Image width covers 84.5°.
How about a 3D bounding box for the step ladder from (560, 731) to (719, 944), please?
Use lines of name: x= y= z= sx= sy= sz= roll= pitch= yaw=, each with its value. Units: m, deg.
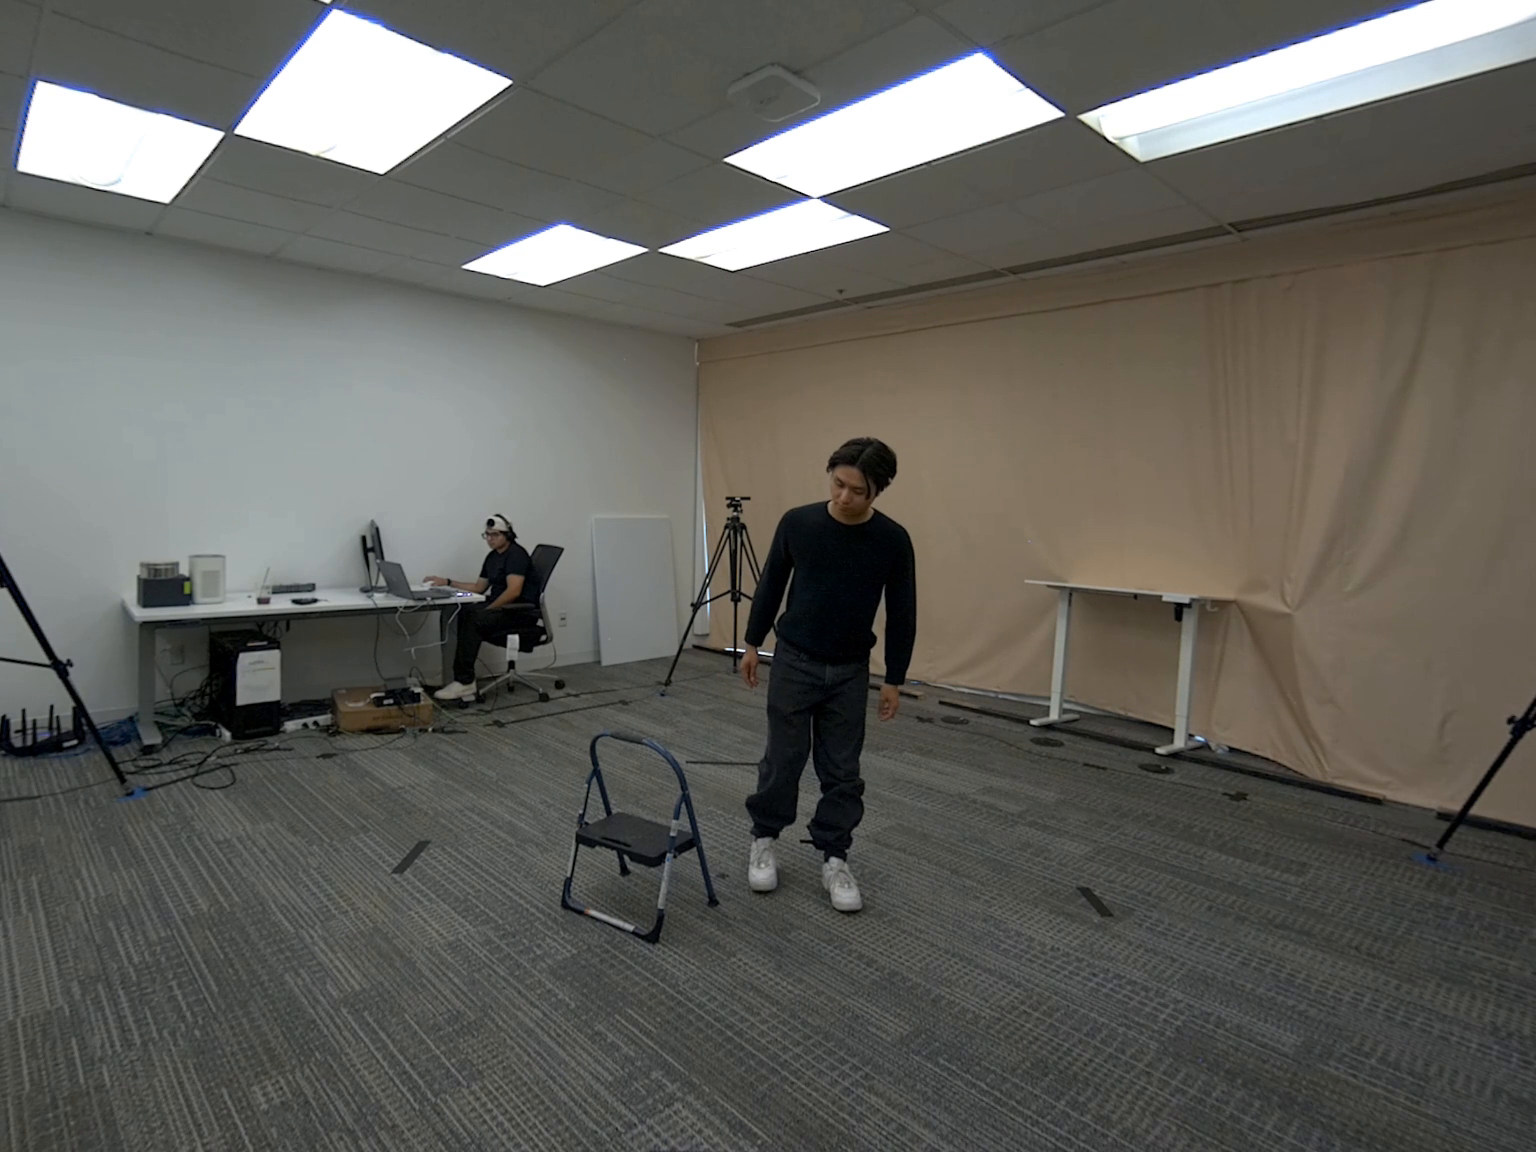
step ladder: x=-0.436 y=0.820 z=2.850 sx=0.440 sy=0.605 sz=0.342 roll=3 pitch=3 yaw=32
